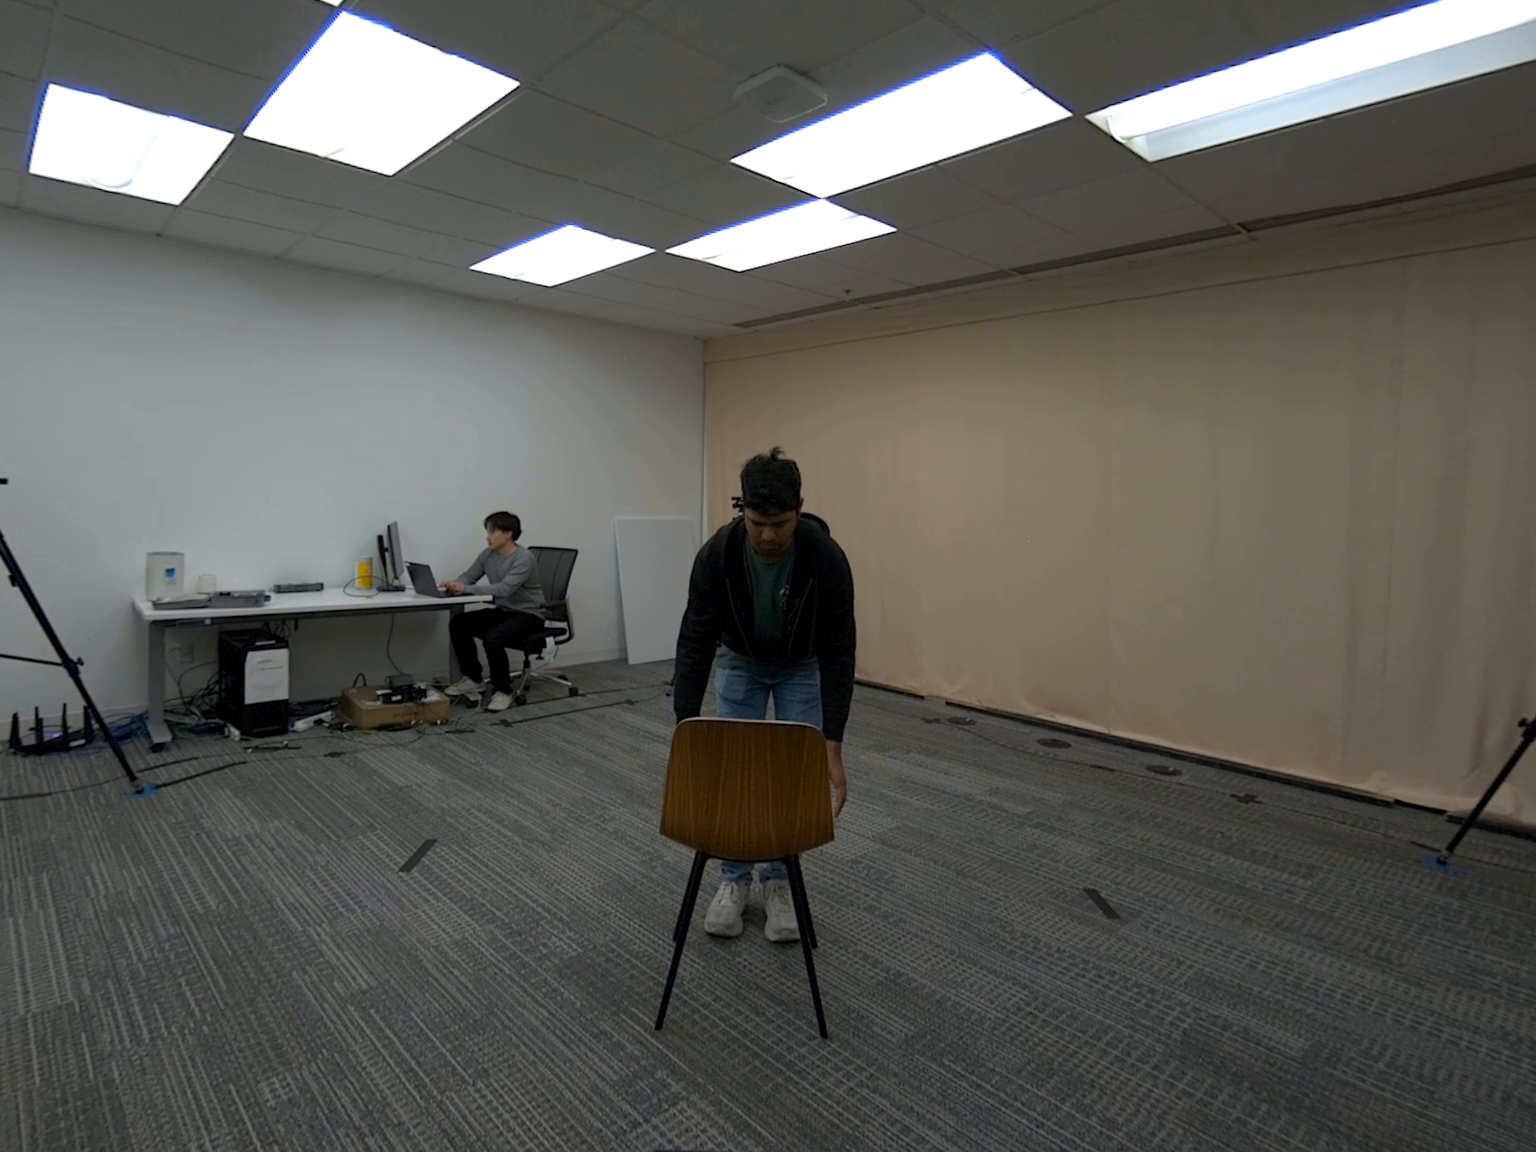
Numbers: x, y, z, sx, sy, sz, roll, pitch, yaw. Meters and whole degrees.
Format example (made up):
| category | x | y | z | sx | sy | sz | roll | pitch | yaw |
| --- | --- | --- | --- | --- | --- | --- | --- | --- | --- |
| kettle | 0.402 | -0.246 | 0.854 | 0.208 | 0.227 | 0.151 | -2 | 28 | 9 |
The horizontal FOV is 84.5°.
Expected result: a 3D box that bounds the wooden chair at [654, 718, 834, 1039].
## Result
| category | x | y | z | sx | sy | sz | roll | pitch | yaw |
| --- | --- | --- | --- | --- | --- | --- | --- | --- | --- |
| wooden chair | -0.069 | 0.747 | 2.384 | 0.478 | 0.872 | 0.526 | 1 | 8 | 0 |
